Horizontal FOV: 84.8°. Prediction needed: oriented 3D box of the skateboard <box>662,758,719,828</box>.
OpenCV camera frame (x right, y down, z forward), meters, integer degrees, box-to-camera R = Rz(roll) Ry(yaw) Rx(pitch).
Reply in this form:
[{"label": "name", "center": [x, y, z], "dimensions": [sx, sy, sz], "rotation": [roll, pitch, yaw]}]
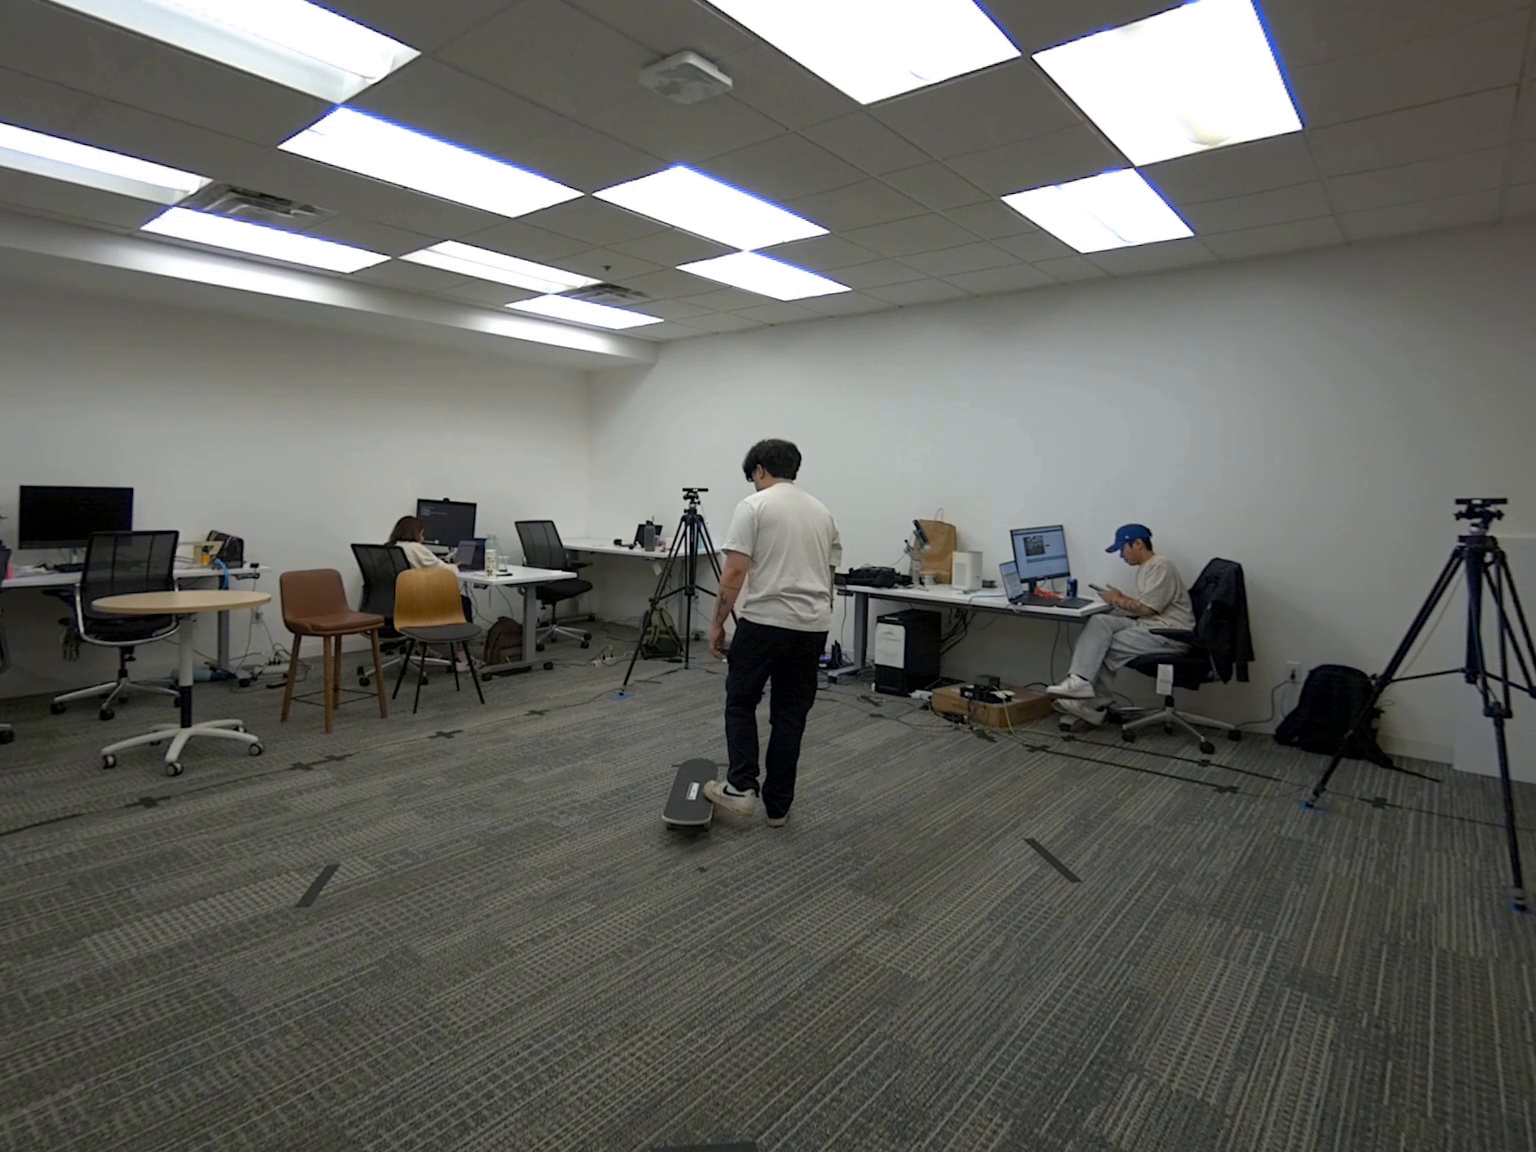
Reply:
[{"label": "skateboard", "center": [-0.333, 0.955, 3.668], "dimensions": [0.194, 0.110, 0.787], "rotation": [1, 5, 0]}]
